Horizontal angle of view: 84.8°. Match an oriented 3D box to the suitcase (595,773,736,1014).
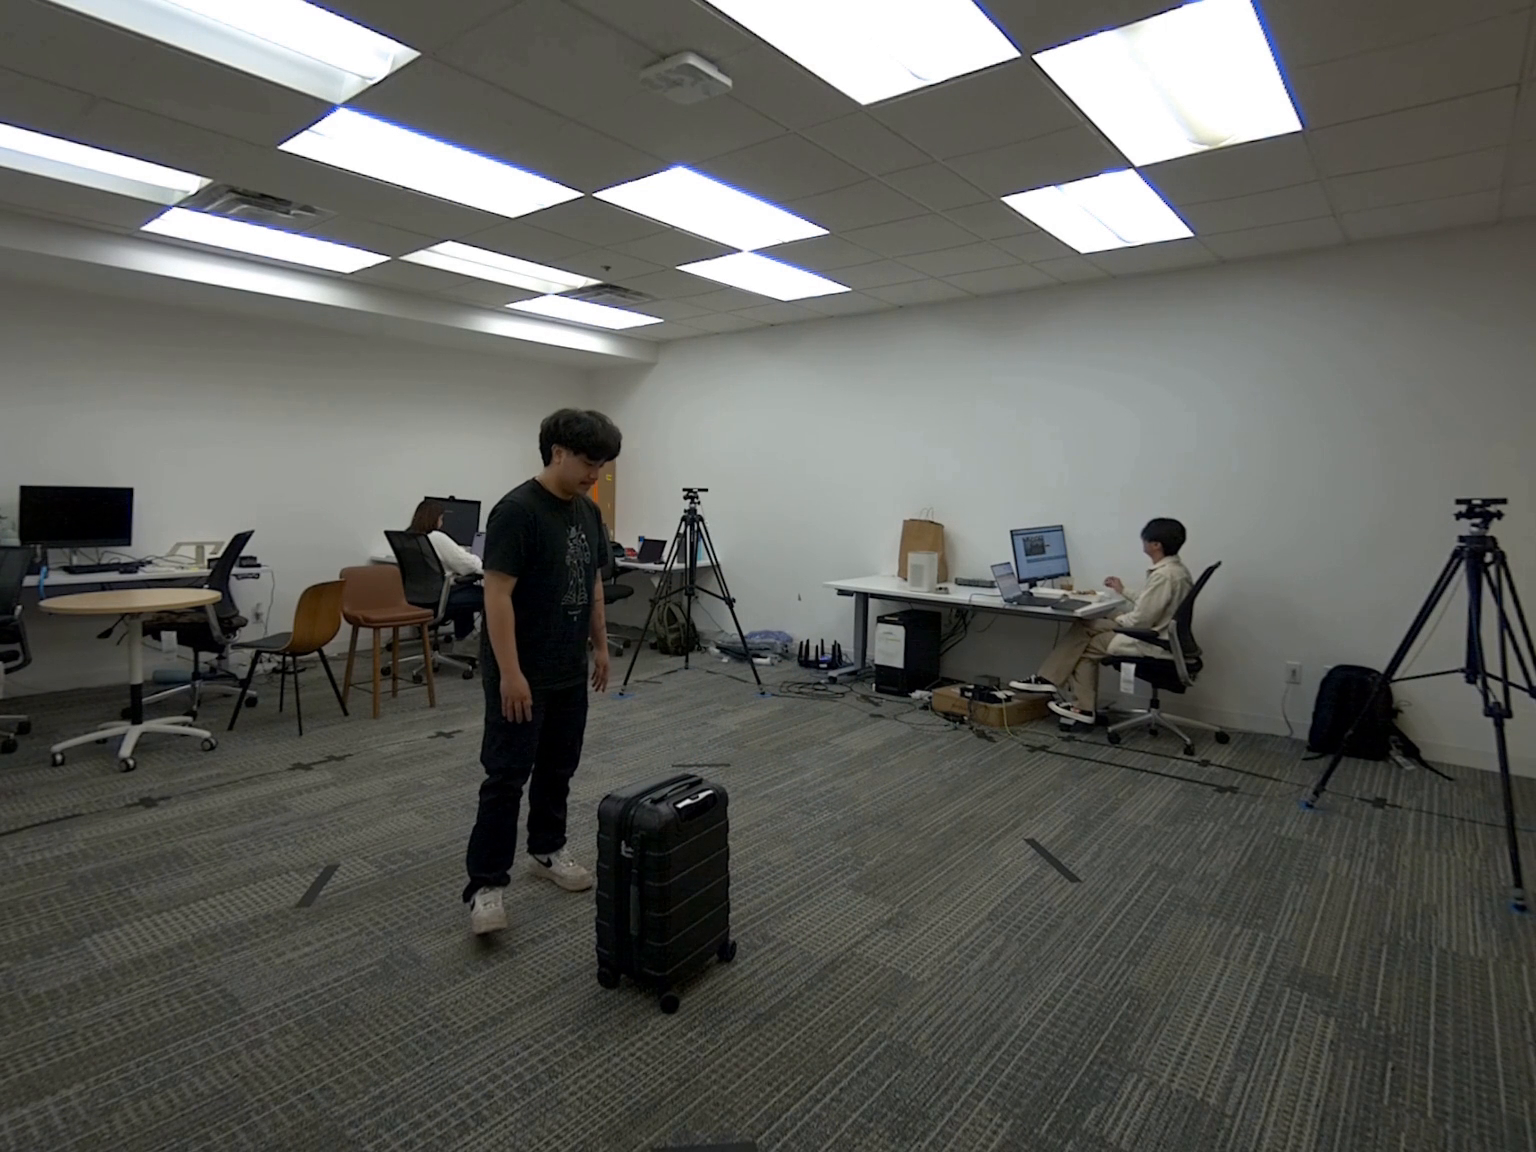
[{"bbox_3d":[-0.302,0.860,2.425,0.256,0.548,0.365,1,4,34],"label":"suitcase"}]
